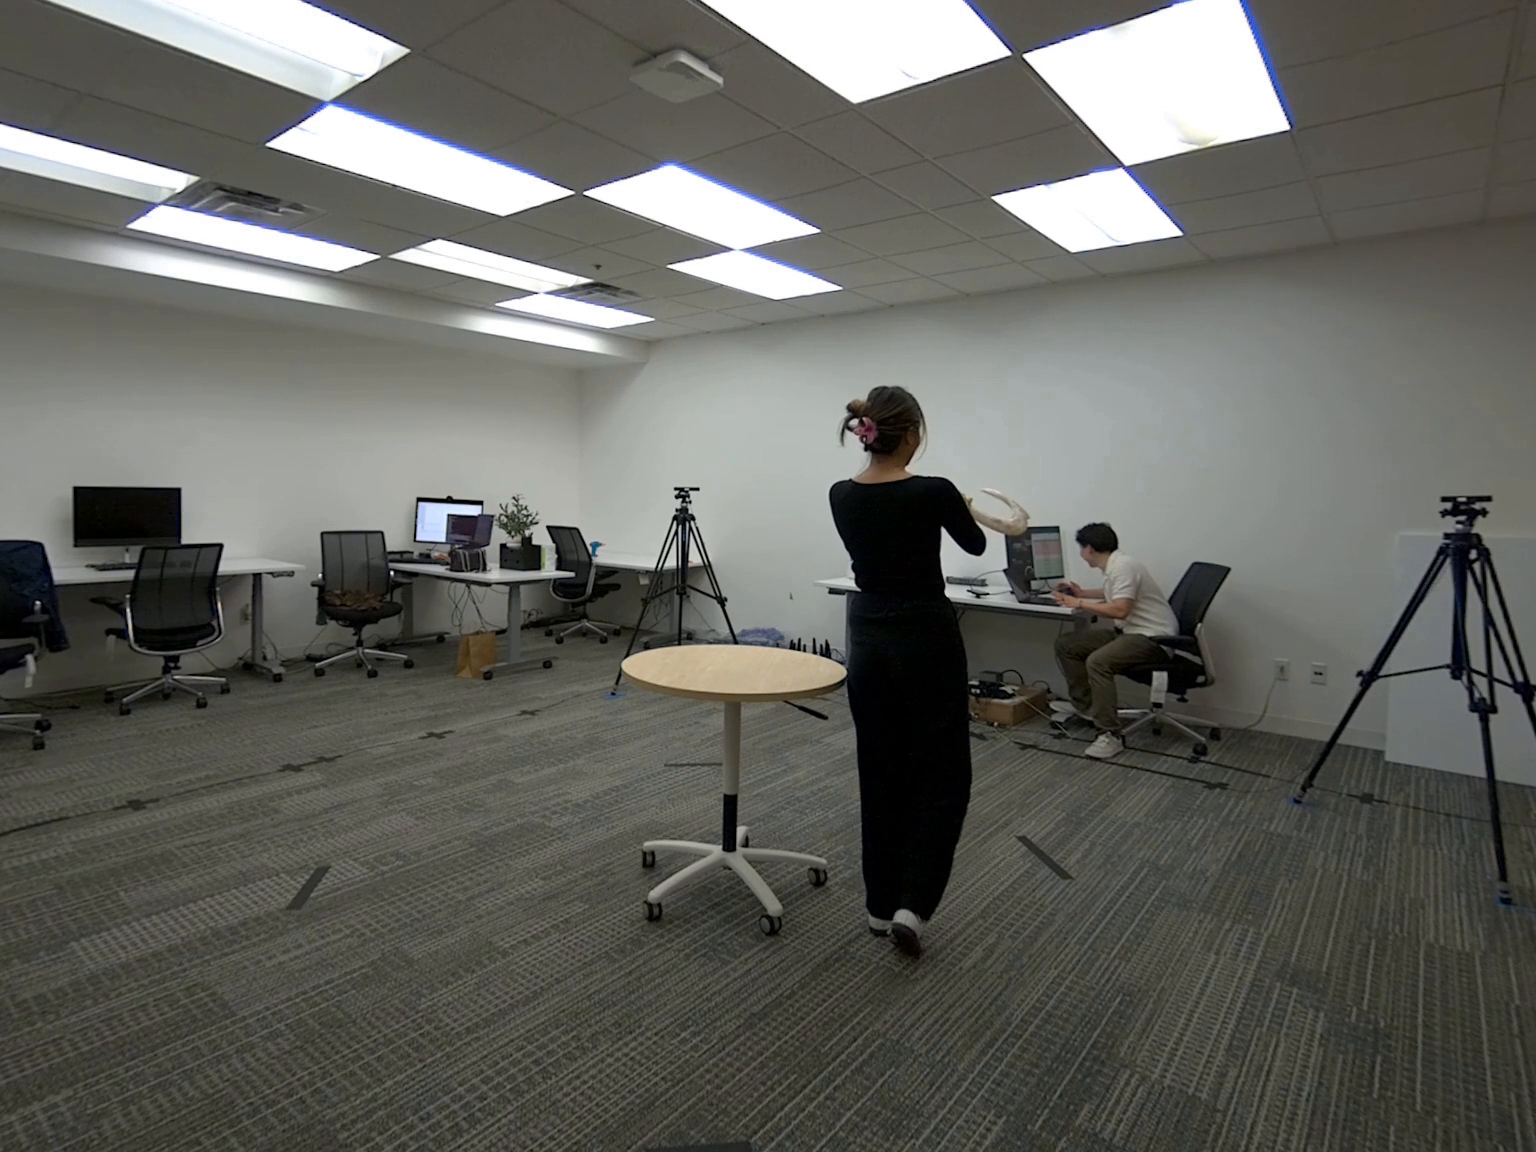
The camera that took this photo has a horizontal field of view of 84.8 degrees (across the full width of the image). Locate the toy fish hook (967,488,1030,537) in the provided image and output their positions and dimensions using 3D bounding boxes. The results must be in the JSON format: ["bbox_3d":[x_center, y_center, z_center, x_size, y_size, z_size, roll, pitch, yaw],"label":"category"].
[{"bbox_3d":[0.700,-0.294,3.087,0.513,0.047,0.225,27,41,8],"label":"toy fish hook"}]
